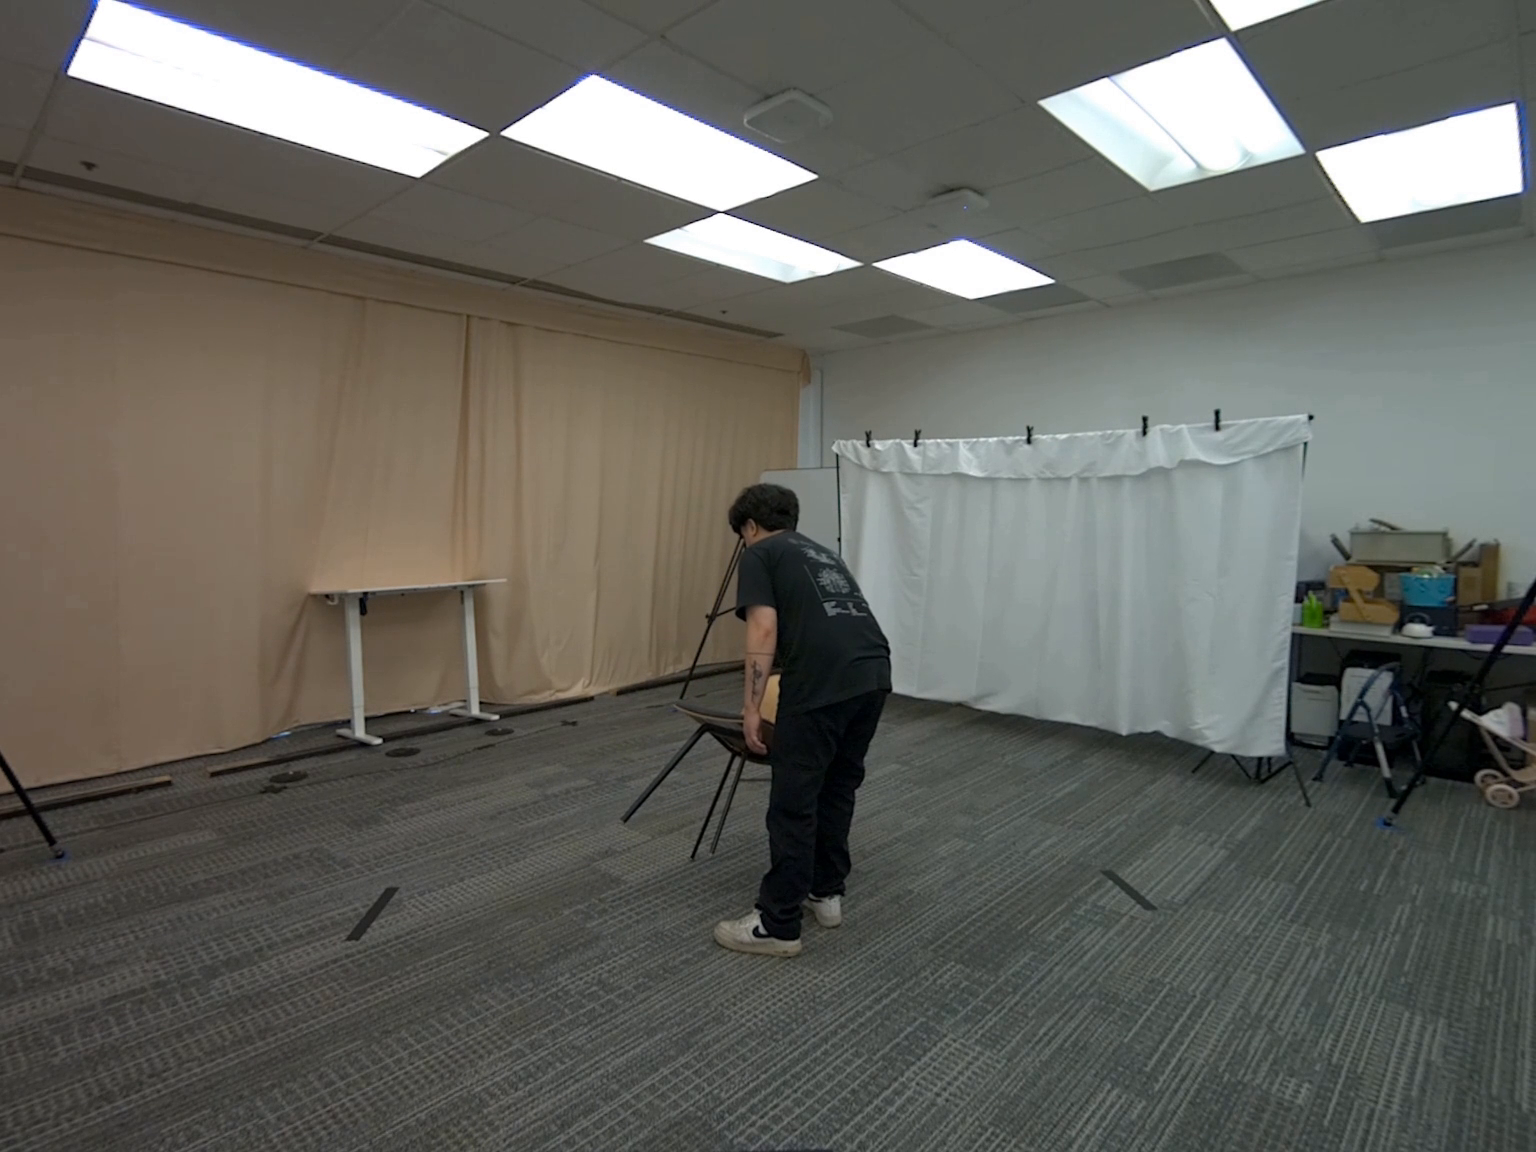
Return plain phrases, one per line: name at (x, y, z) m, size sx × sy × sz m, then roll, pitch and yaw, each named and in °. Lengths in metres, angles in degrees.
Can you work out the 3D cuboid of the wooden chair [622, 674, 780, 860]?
wooden chair at (-0.096, 0.645, 3.185) m, size 0.494 × 0.878 × 0.505 m, roll 3°, pitch -34°, yaw 41°
